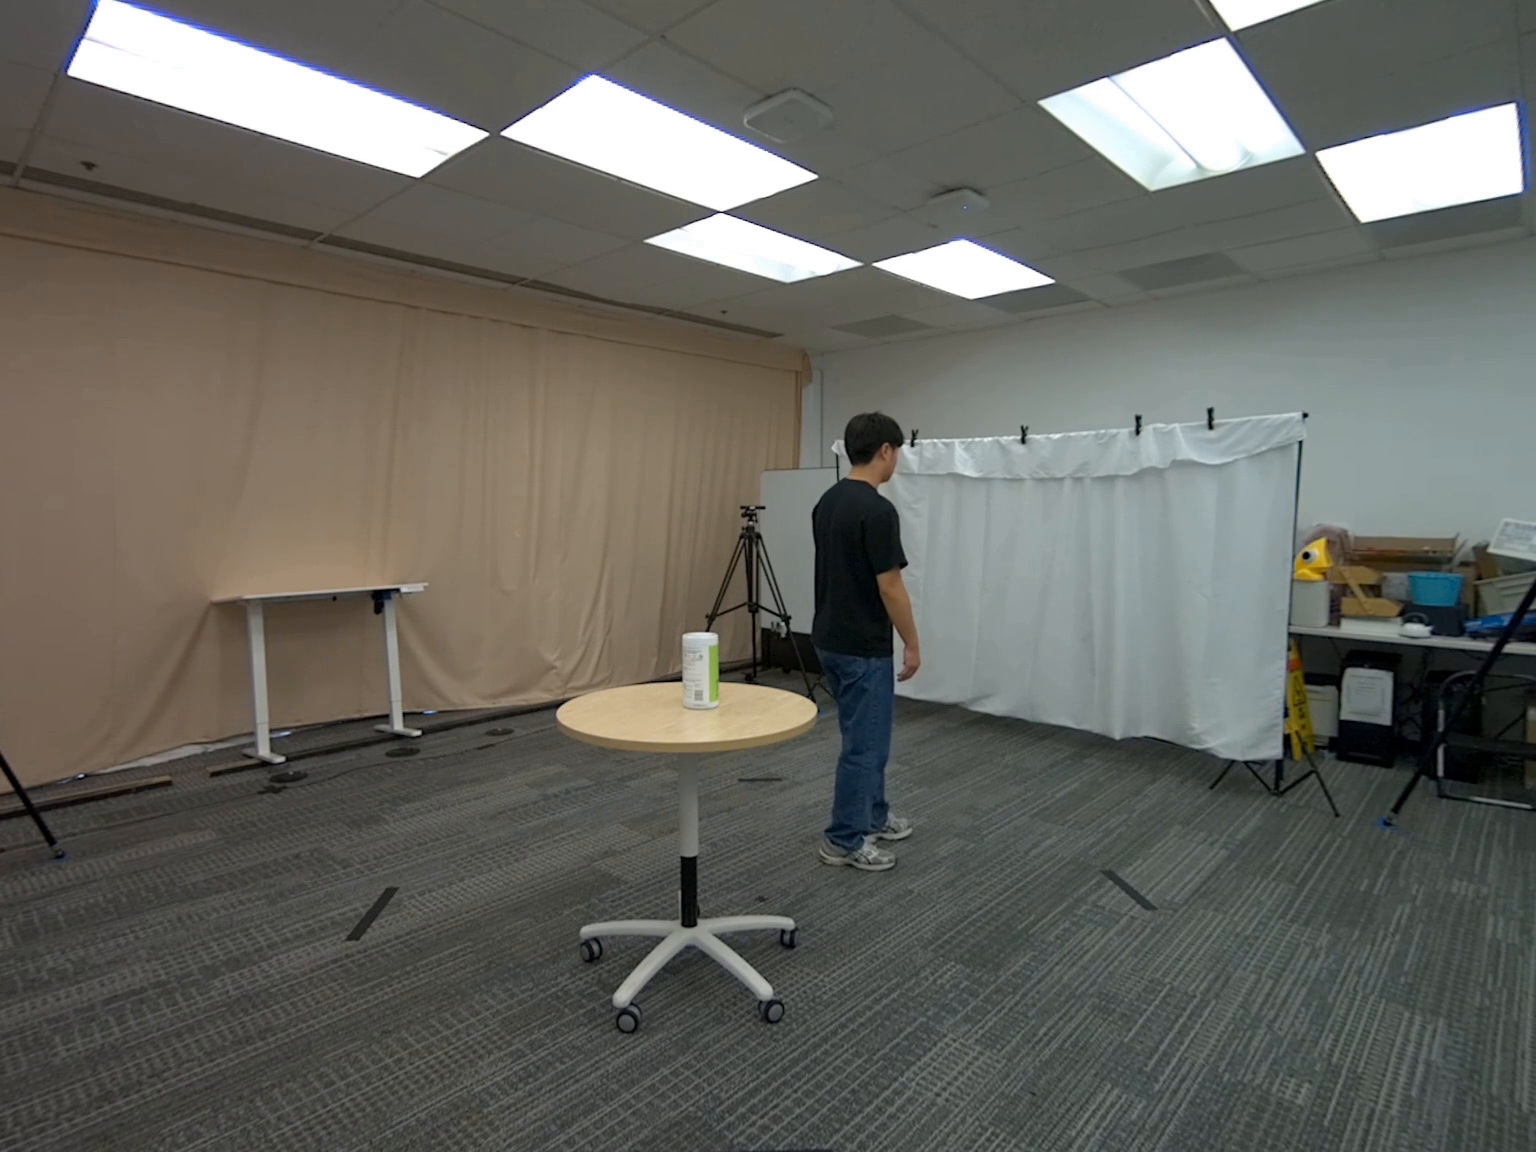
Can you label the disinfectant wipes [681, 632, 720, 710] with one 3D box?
[{"bbox_3d":[-0.199,0.285,2.506,0.118,0.217,0.118,0,2,-2],"label":"disinfectant wipes"}]
